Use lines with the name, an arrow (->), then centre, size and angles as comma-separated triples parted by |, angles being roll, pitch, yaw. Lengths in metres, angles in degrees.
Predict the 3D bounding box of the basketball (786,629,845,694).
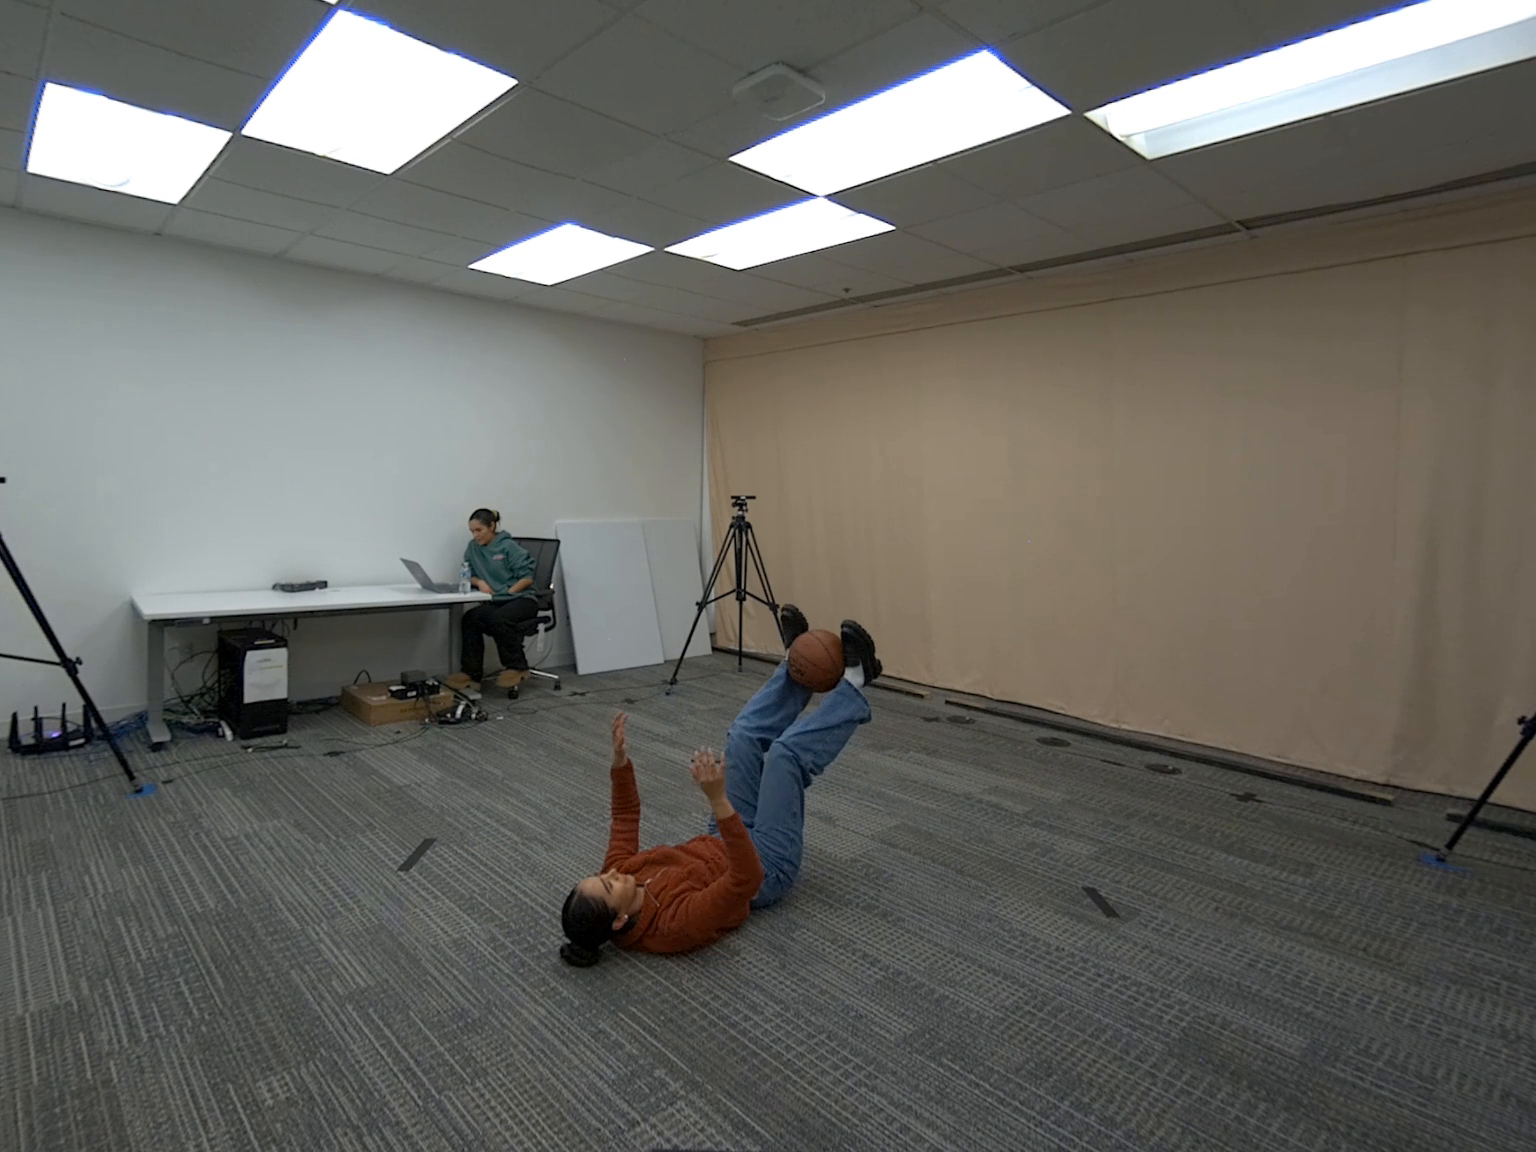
basketball -> 0.187, 0.326, 3.165 | 0.236, 0.234, 0.237 | 0, 8, -1
